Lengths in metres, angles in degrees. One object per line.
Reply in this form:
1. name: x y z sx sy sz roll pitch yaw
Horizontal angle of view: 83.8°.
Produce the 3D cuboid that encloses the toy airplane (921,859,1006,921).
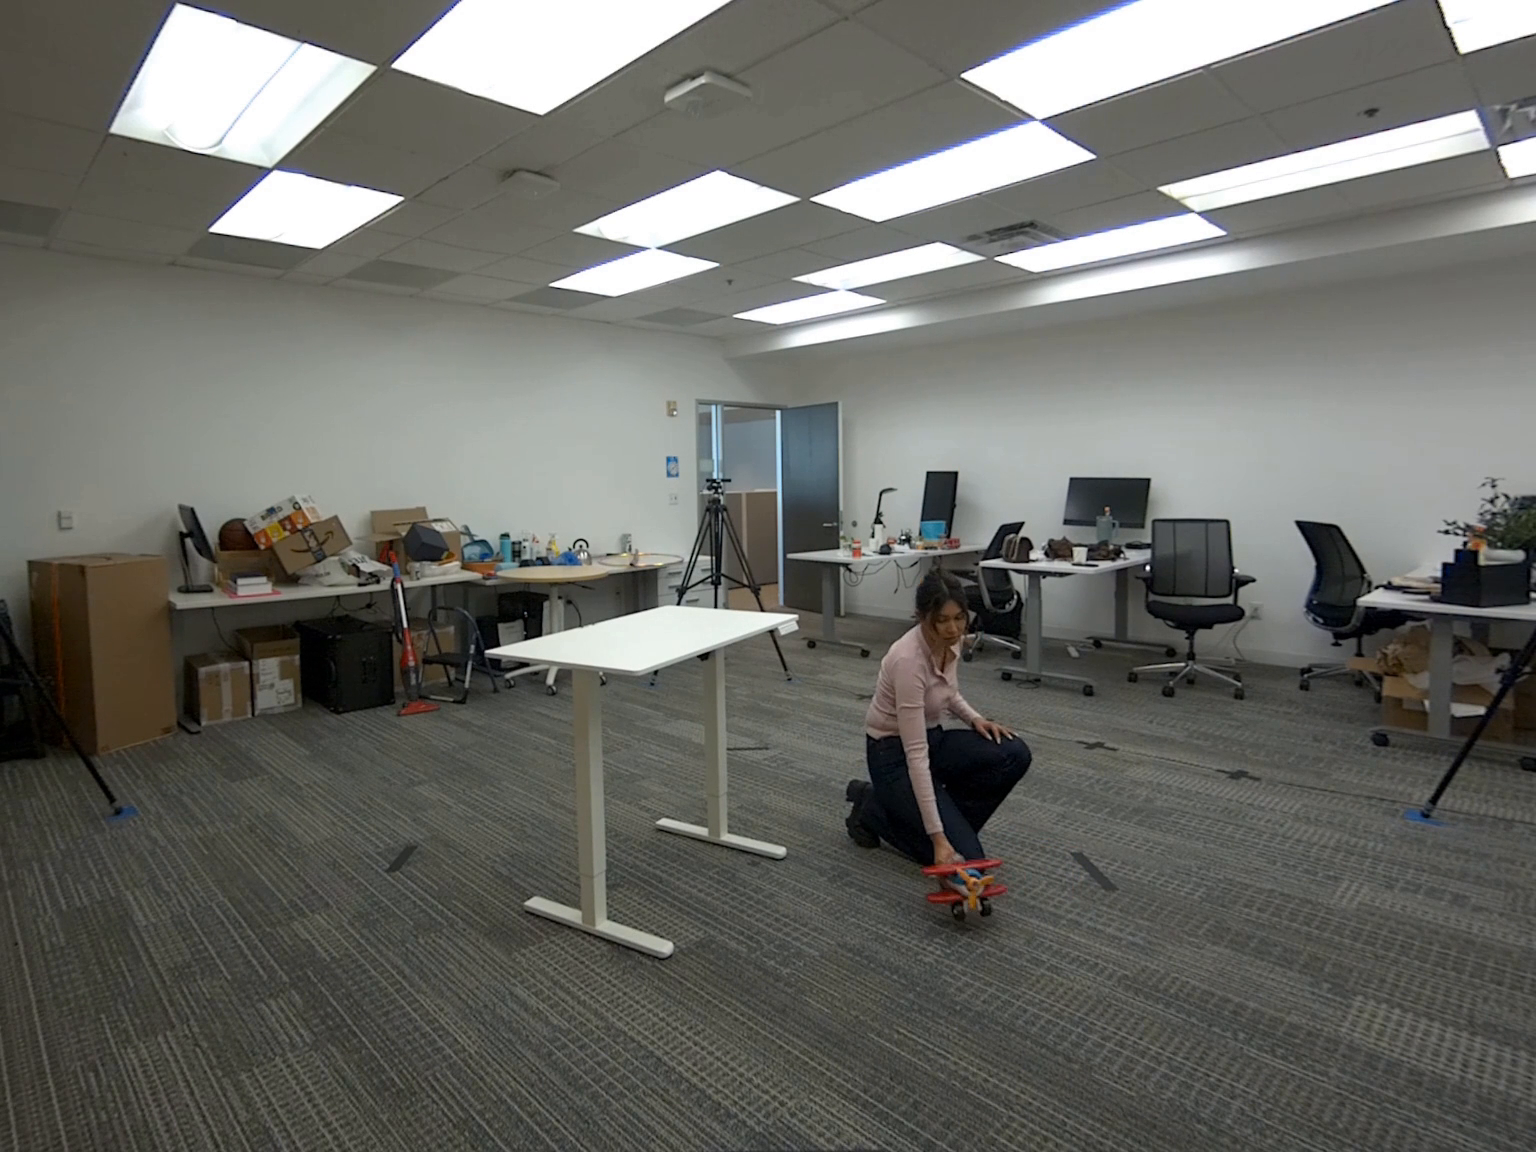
1. toy airplane: 0.594 0.973 2.702 0.245 0.156 0.267 -8 7 -36
